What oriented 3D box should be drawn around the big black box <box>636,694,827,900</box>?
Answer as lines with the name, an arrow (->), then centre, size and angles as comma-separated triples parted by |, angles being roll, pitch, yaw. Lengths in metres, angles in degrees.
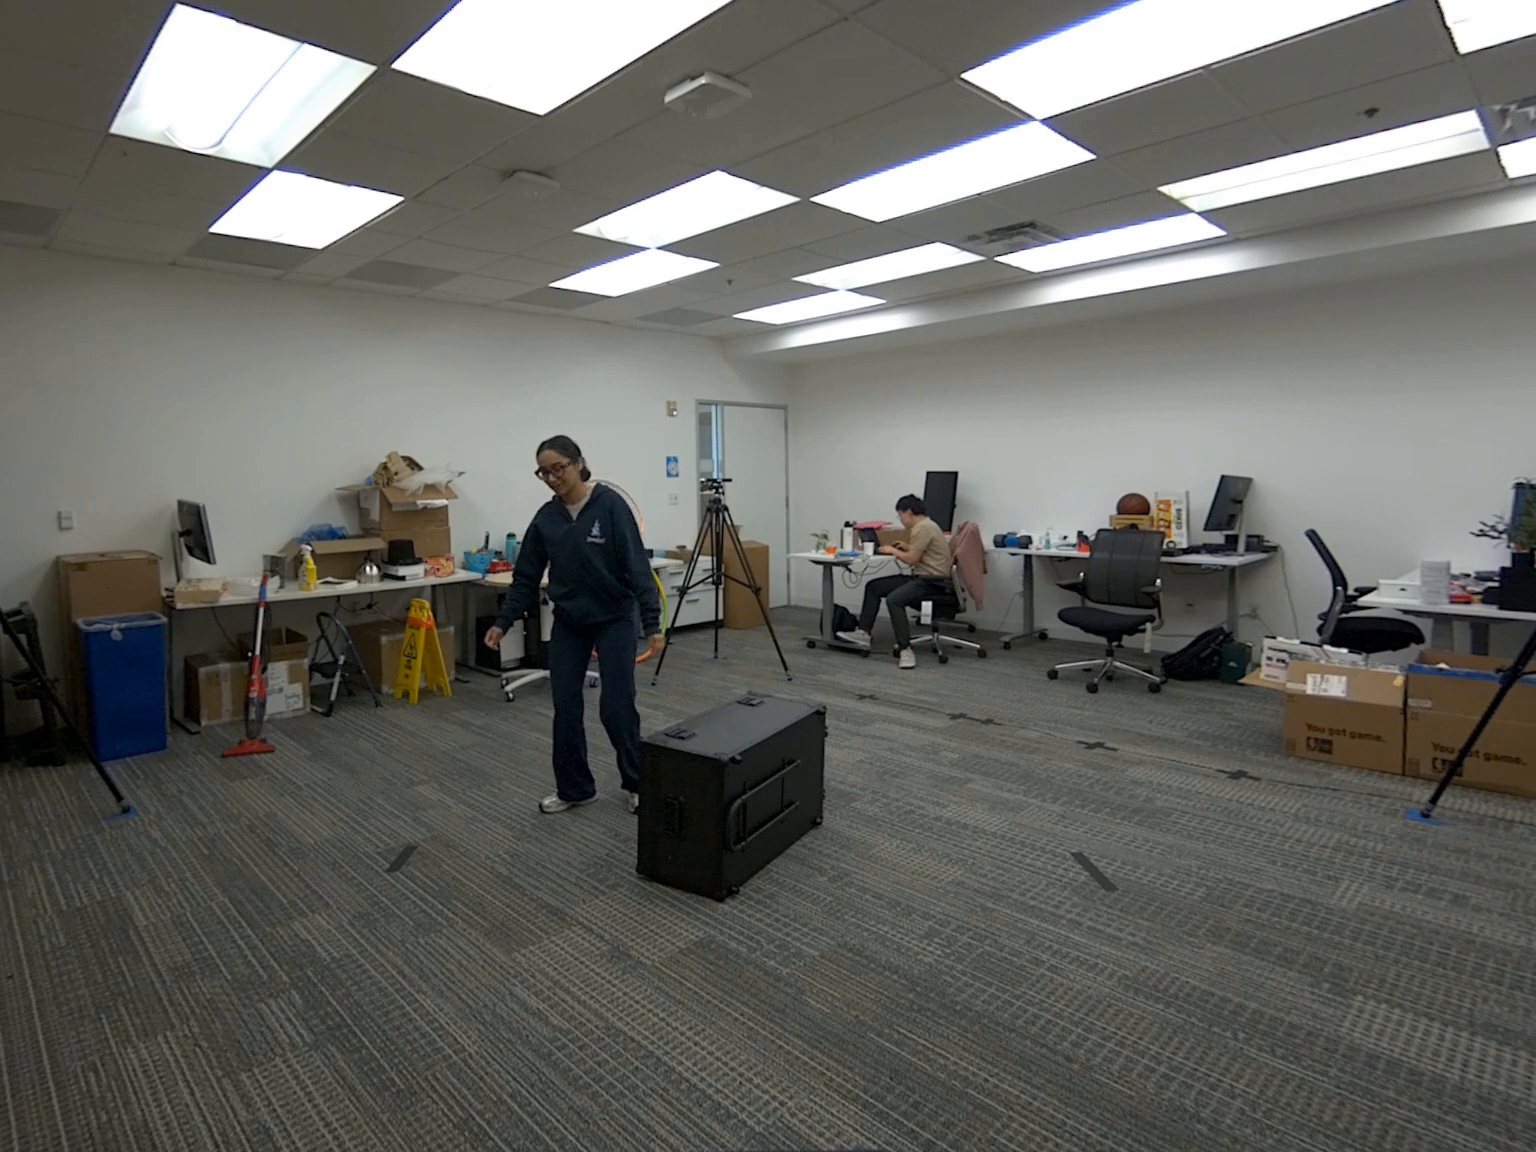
big black box -> -0.084, 0.775, 3.231 | 0.407, 0.518, 0.843 | 5, 8, 29
